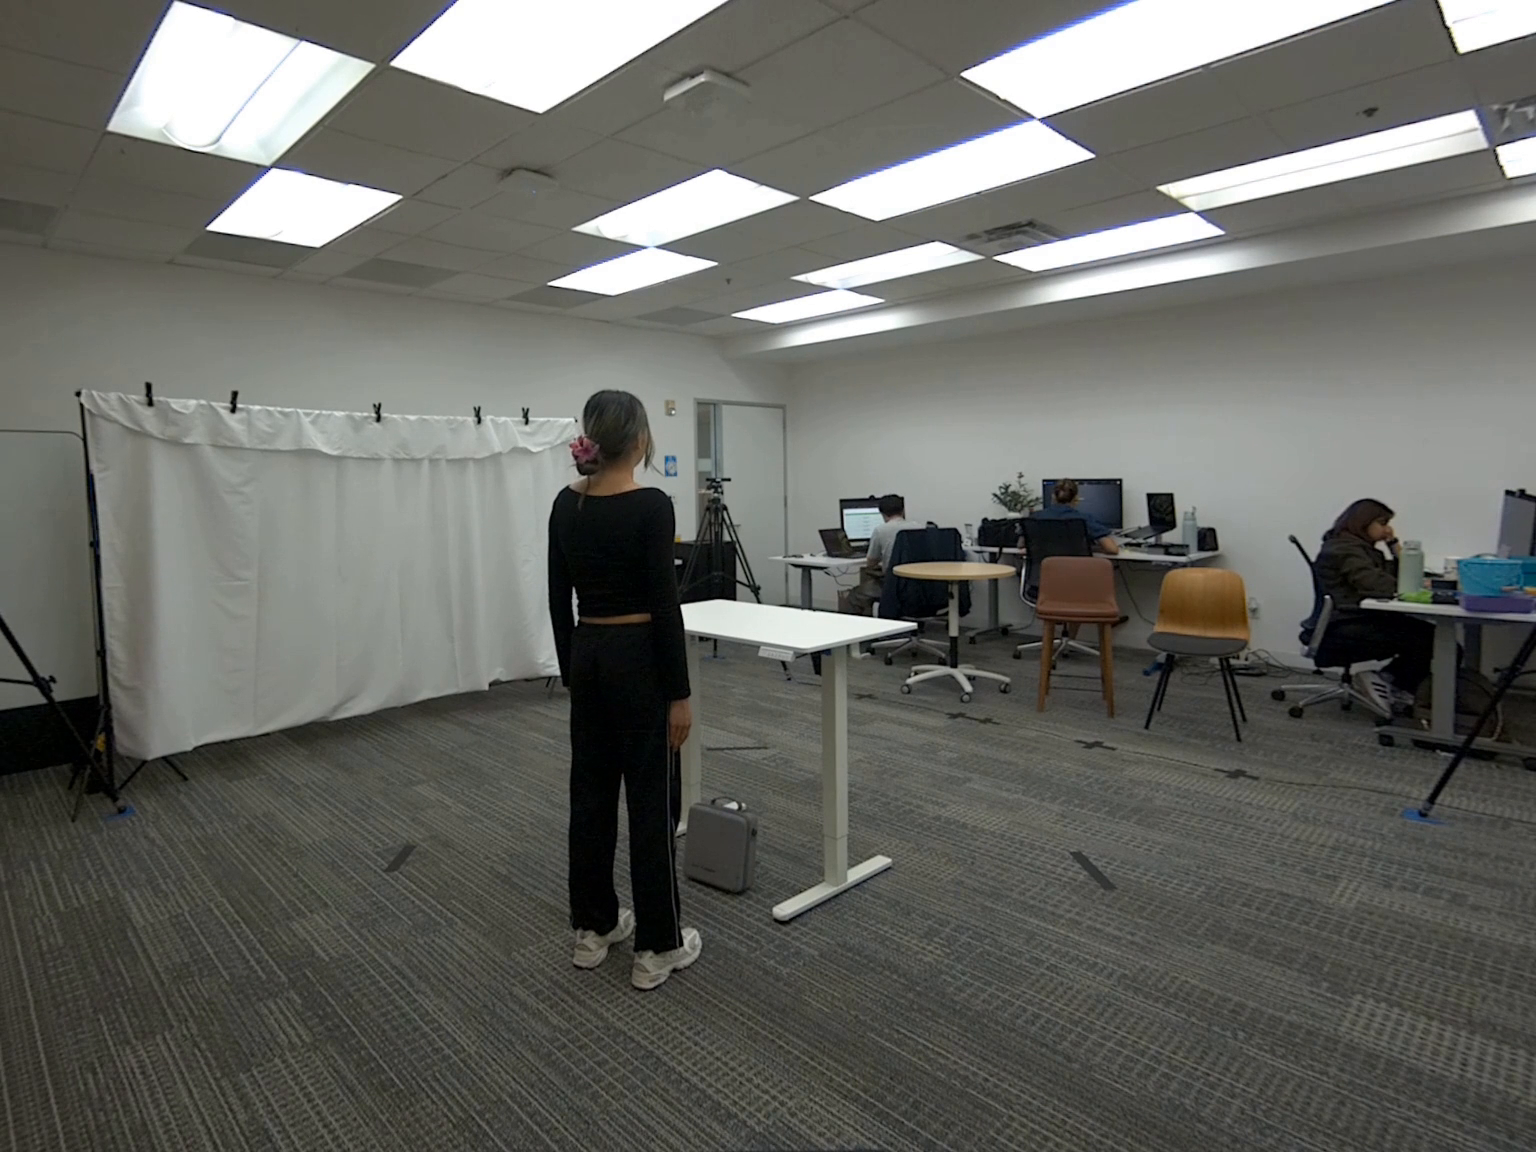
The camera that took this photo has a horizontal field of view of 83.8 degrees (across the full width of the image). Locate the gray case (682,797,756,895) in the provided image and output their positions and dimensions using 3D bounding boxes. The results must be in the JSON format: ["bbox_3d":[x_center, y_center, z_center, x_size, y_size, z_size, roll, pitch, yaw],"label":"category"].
[{"bbox_3d":[-0.161,0.927,2.963,0.264,0.262,0.101,3,-6,35],"label":"gray case"}]
